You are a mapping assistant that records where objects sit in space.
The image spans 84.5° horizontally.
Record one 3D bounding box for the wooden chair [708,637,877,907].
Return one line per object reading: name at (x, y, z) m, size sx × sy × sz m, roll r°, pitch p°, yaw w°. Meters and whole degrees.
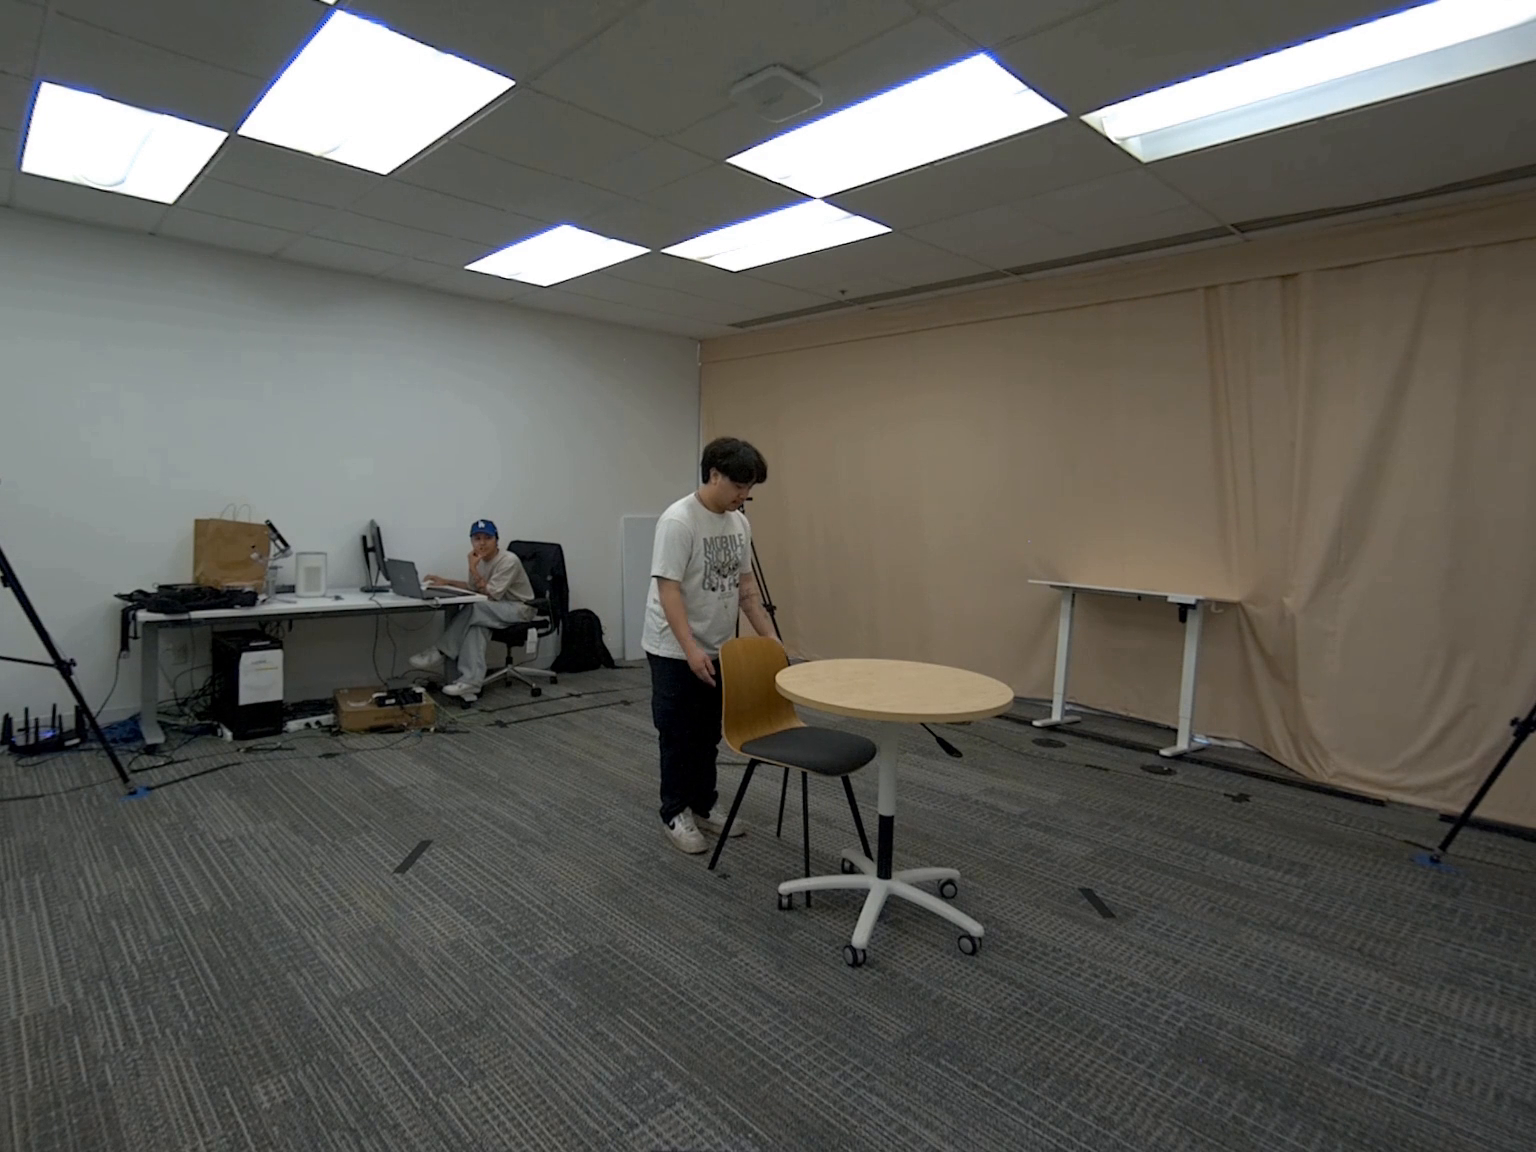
wooden chair at (0.101, 0.682, 3.152) m, size 0.535 × 0.877 × 0.467 m, roll -1°, pitch 0°, yaw 38°
